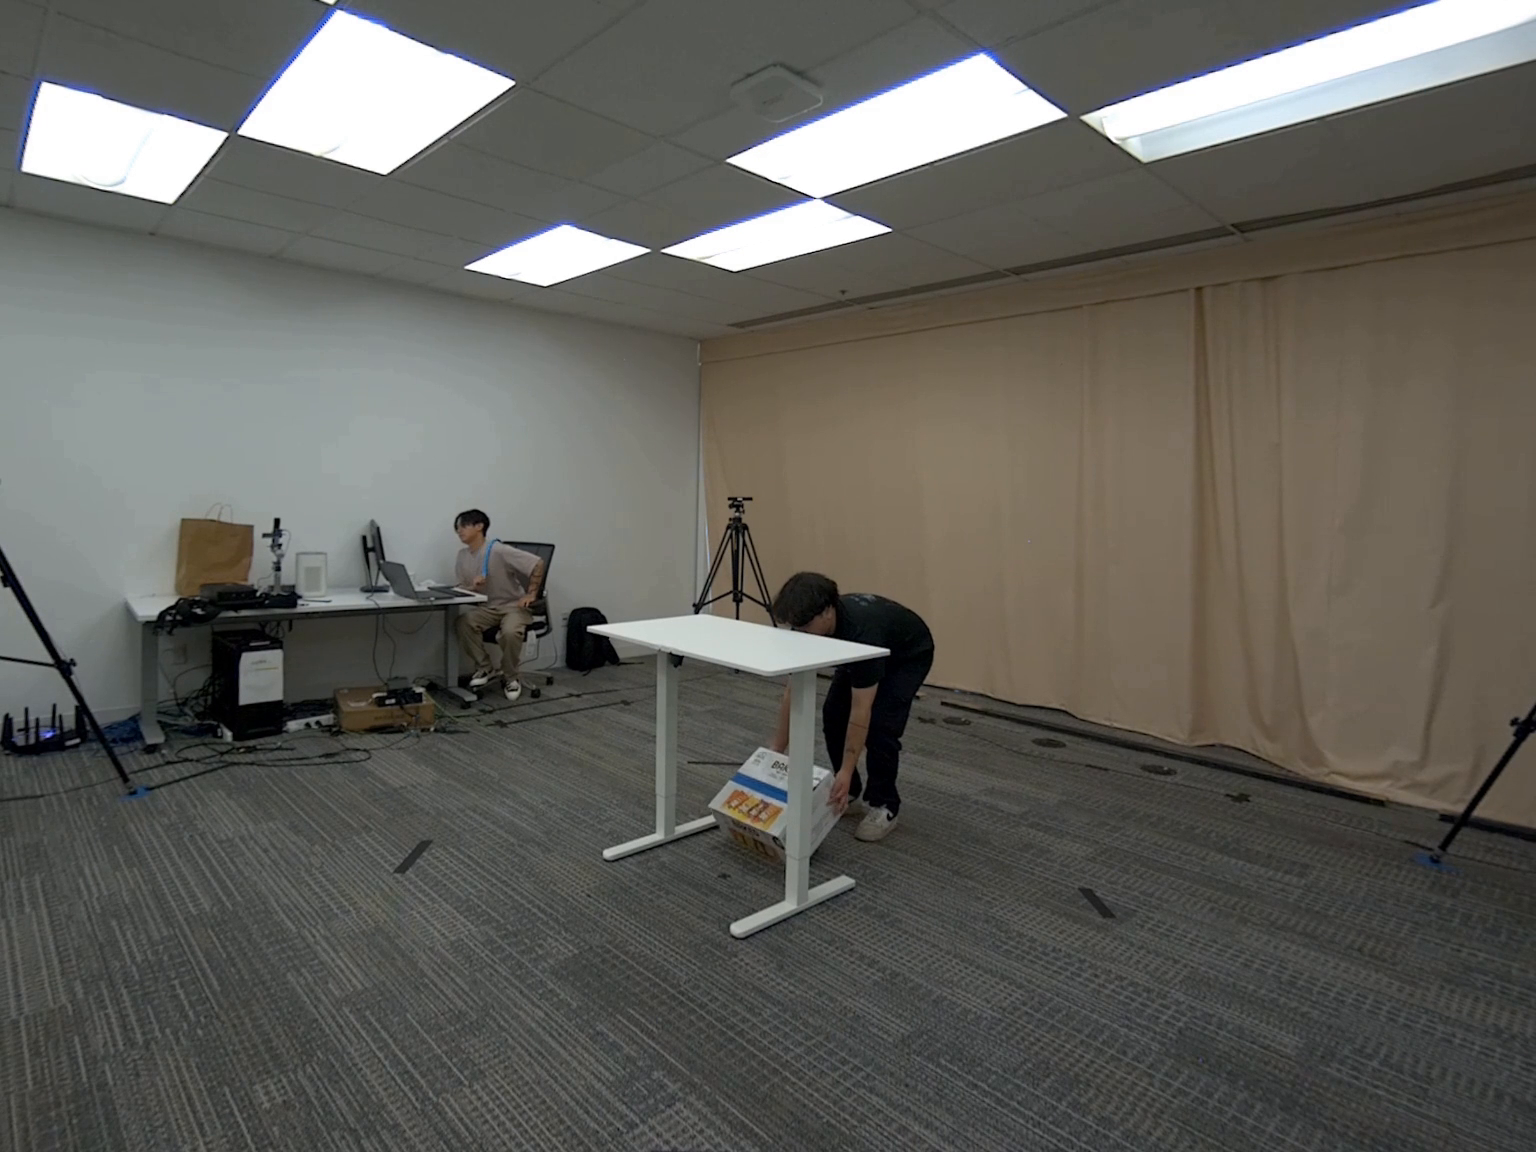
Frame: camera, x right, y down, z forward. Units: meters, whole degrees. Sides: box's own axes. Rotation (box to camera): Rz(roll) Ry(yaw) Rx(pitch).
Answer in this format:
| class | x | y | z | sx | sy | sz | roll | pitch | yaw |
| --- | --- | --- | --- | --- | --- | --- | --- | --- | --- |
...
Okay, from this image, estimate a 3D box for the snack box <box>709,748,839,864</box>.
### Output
| class | x | y | z | sx | sy | sz | roll | pitch | yaw |
| --- | --- | --- | --- | --- | --- | --- | --- | --- | --- |
| snack box | 0.032 | 0.921 | 3.346 | 0.415 | 0.201 | 0.339 | 6 | 41 | 46 |
